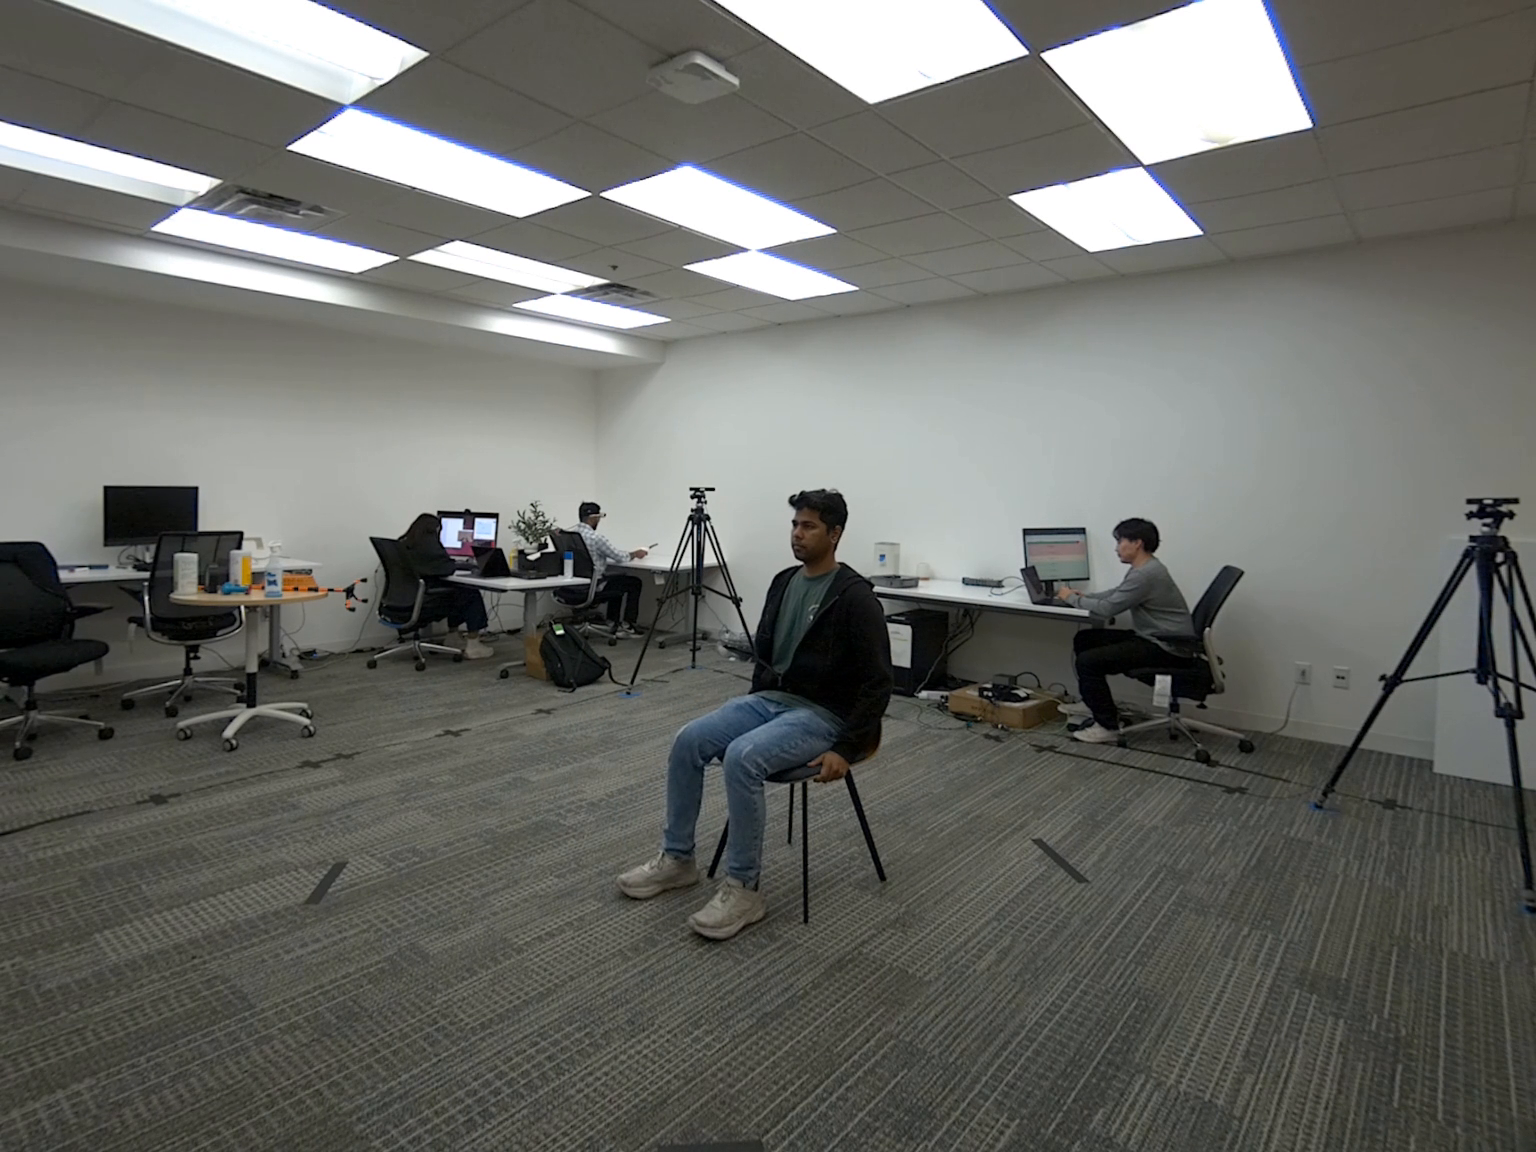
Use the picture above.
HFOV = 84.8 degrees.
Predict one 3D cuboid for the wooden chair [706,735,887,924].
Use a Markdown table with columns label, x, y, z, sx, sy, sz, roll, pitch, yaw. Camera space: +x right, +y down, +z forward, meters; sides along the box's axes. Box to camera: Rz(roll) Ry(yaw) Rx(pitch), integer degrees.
| label | x | y | z | sx | sy | sz | roll | pitch | yaw |
| --- | --- | --- | --- | --- | --- | --- | --- | --- | --- |
| wooden chair | 0.101 | 0.658 | 3.002 | 0.494 | 0.877 | 0.506 | 5 | 1 | 43 |
